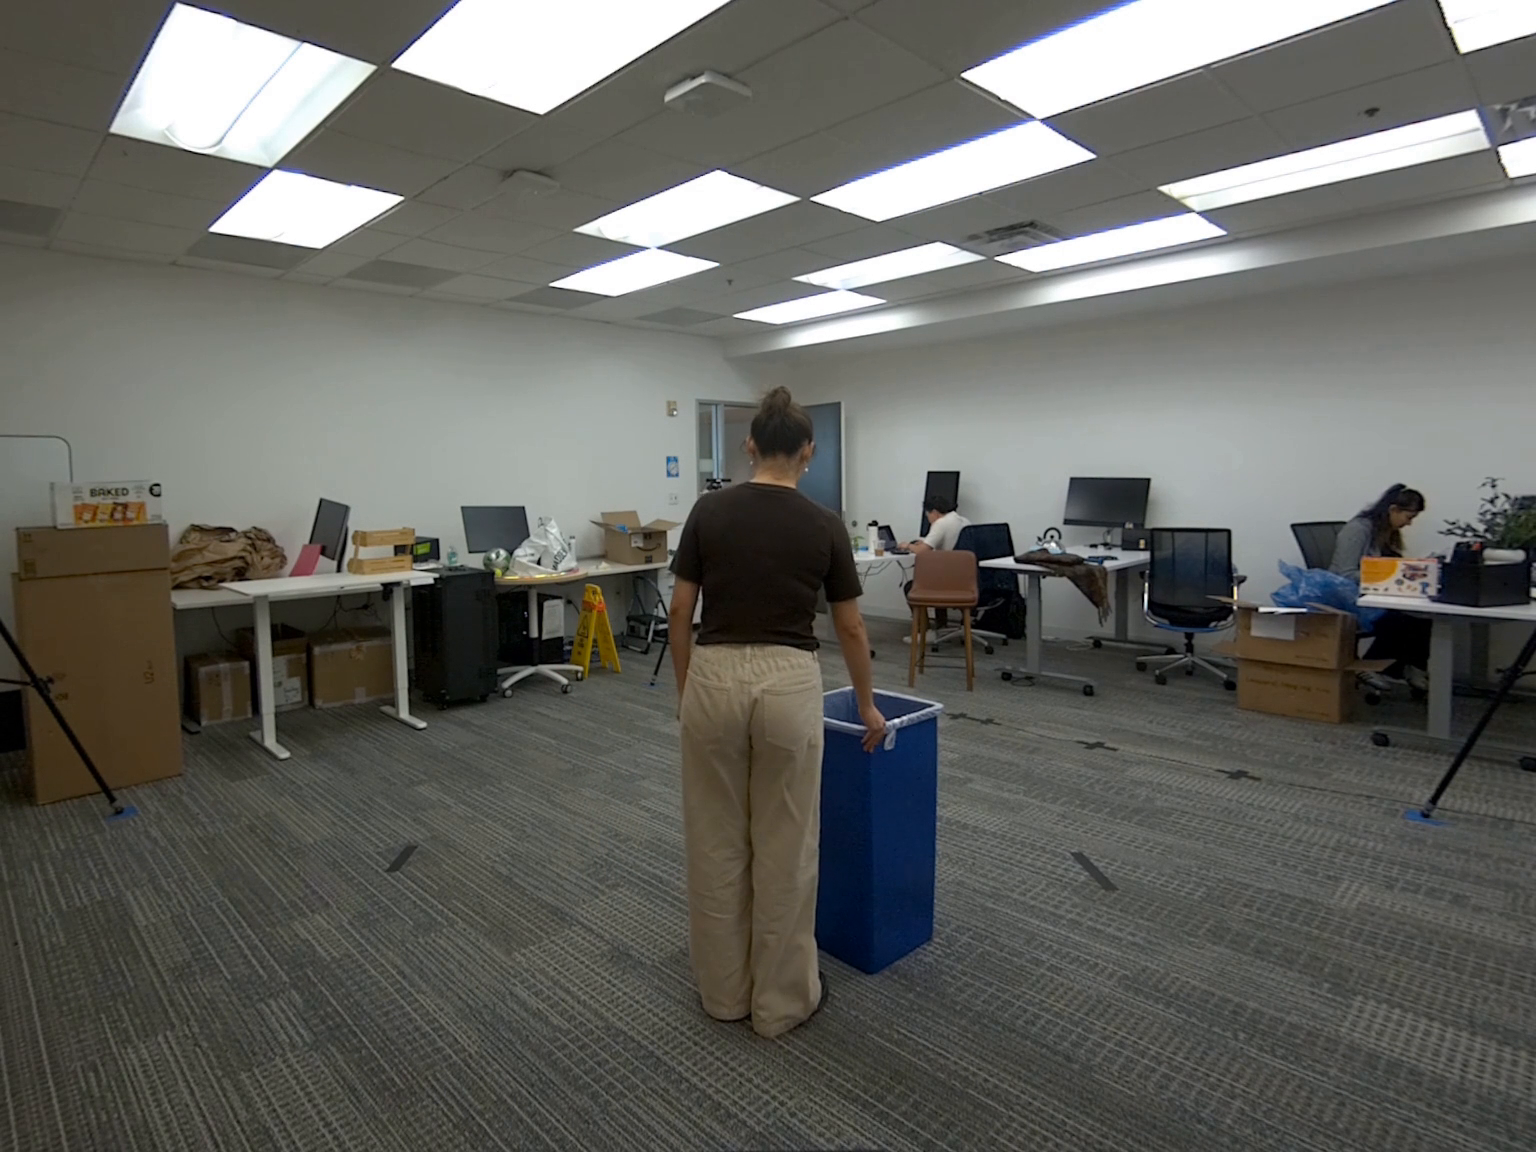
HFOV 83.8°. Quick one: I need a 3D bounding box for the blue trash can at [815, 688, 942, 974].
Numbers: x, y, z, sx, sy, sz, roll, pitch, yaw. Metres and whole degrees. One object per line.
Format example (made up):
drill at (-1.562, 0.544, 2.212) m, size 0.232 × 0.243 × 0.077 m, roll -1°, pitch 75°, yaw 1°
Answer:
blue trash can at (0.293, 0.741, 2.584) m, size 0.364 × 0.711 × 0.389 m, roll -5°, pitch 6°, yaw -42°
